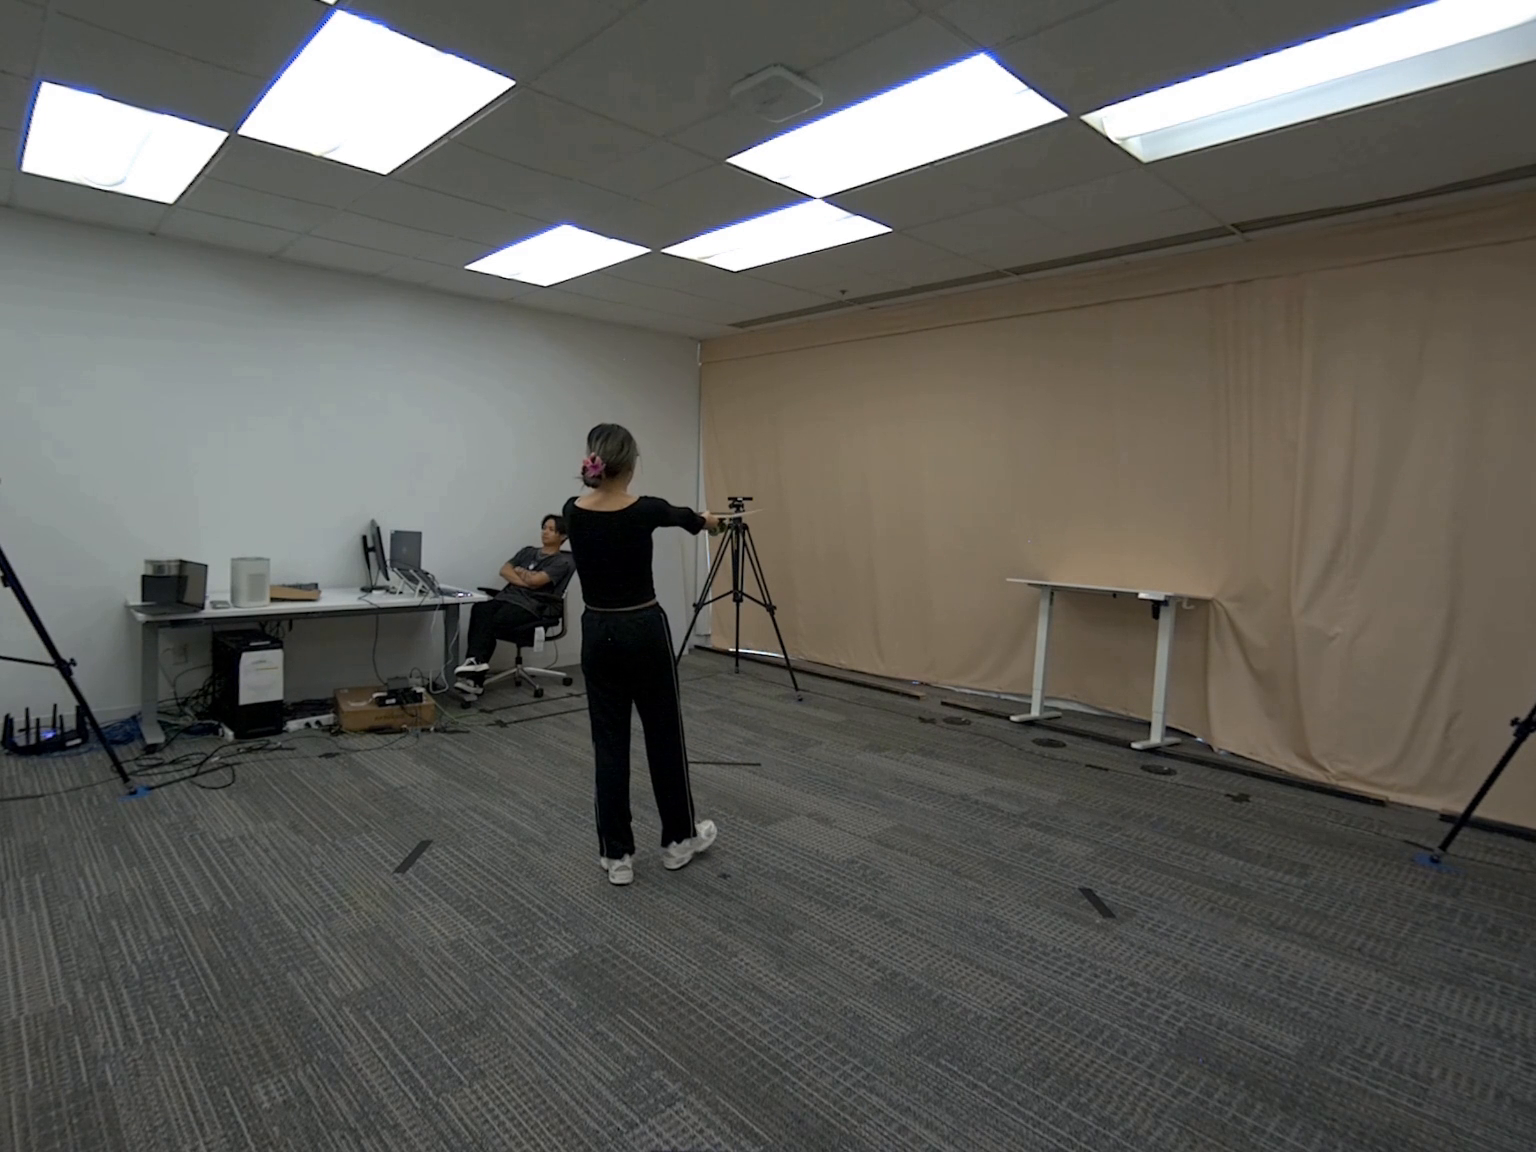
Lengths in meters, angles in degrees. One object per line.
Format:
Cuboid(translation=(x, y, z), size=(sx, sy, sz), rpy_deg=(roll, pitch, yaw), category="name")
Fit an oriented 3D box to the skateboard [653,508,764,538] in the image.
Cuboid(translation=(-0.426, -0.232, 3.666), size=(0.791, 0.110, 0.192), rpy_deg=(0, 5, 10), category="skateboard")
